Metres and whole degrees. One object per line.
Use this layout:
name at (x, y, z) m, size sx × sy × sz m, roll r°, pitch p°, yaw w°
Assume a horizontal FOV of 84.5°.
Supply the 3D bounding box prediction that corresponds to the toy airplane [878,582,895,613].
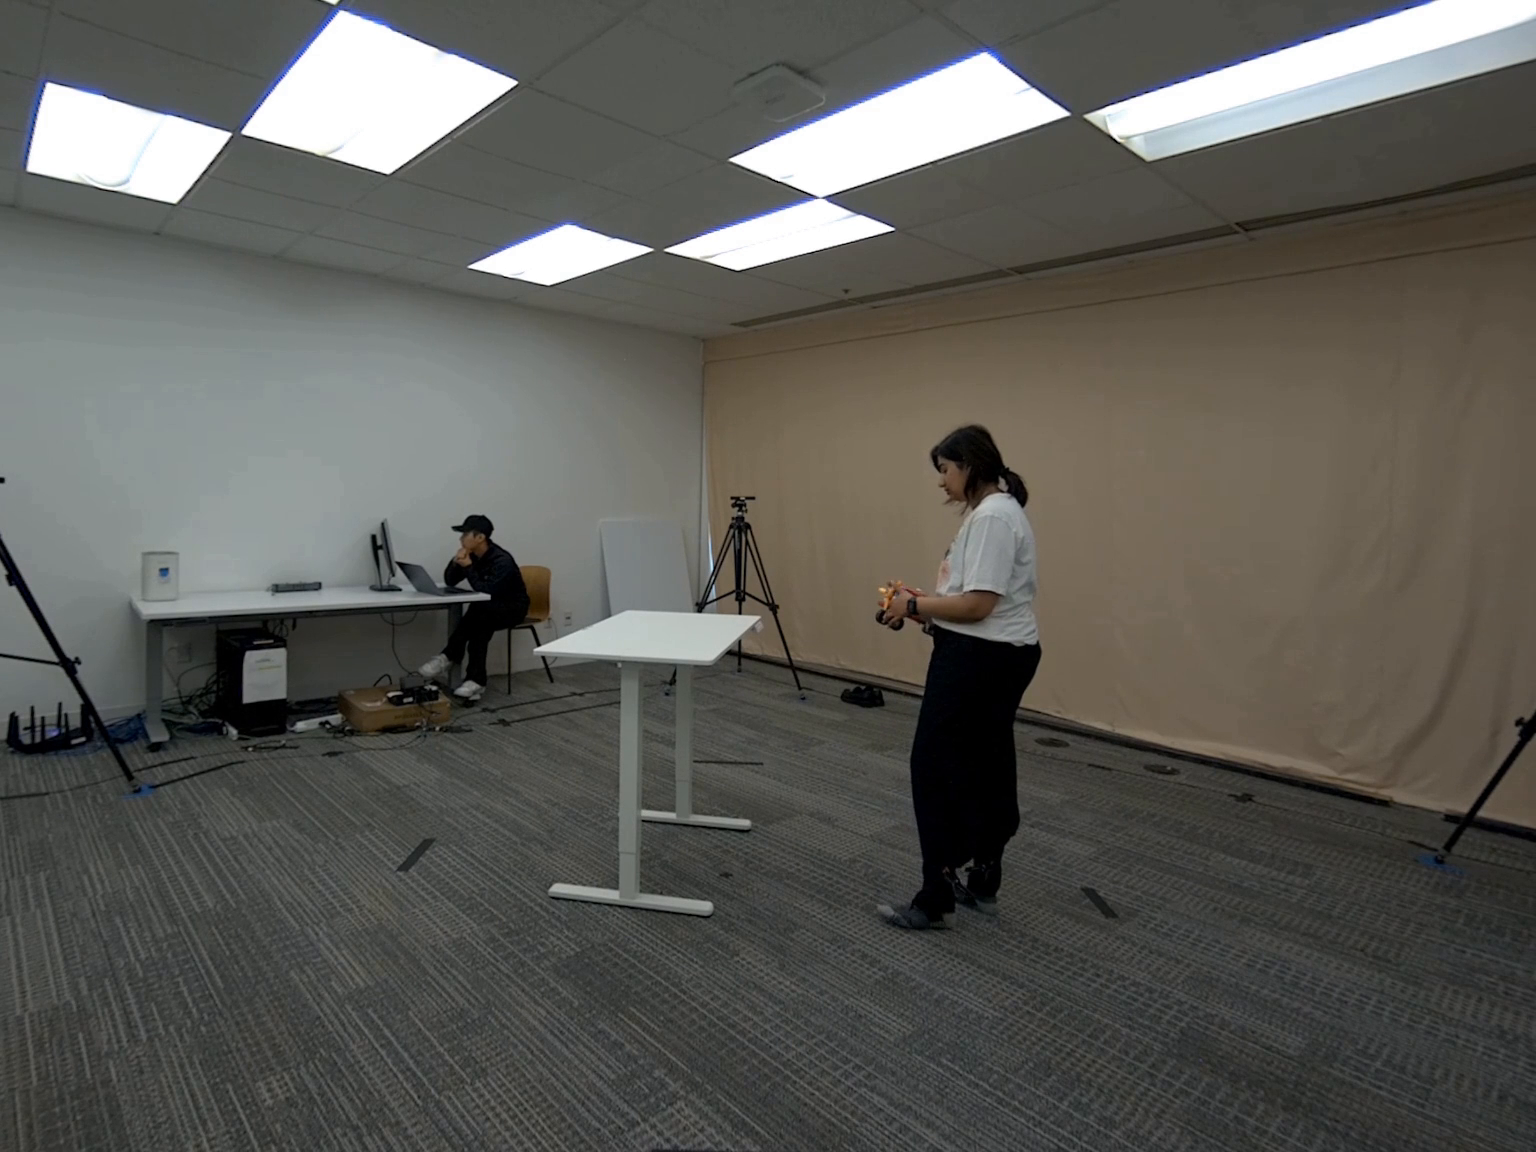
toy airplane at (0.514, 0.119, 3.021) m, size 0.252 × 0.156 × 0.258 m, roll 10°, pitch 5°, yaw -42°
